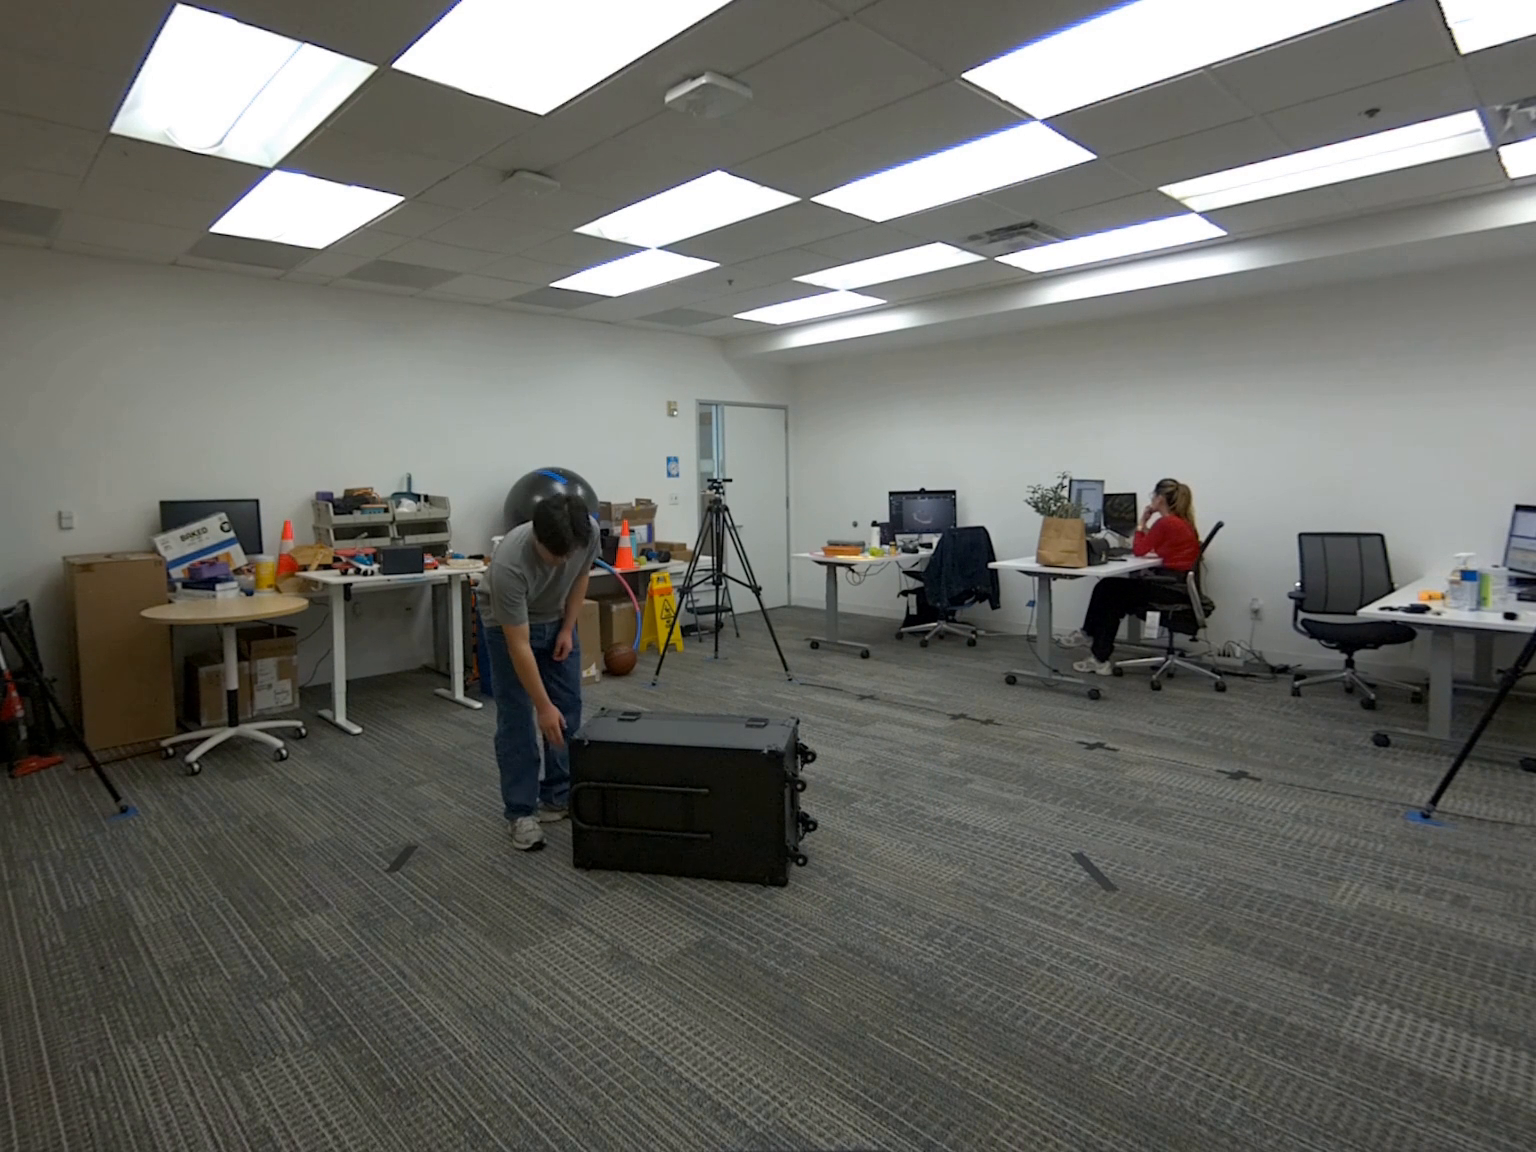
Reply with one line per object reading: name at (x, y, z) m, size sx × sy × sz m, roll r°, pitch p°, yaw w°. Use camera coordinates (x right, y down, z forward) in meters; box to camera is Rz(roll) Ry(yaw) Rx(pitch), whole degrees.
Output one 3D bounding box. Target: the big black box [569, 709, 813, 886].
big black box at (-0.326, 0.792, 3.146) m, size 0.873 × 0.518 × 0.393 m, roll 0°, pitch 6°, yaw 13°
